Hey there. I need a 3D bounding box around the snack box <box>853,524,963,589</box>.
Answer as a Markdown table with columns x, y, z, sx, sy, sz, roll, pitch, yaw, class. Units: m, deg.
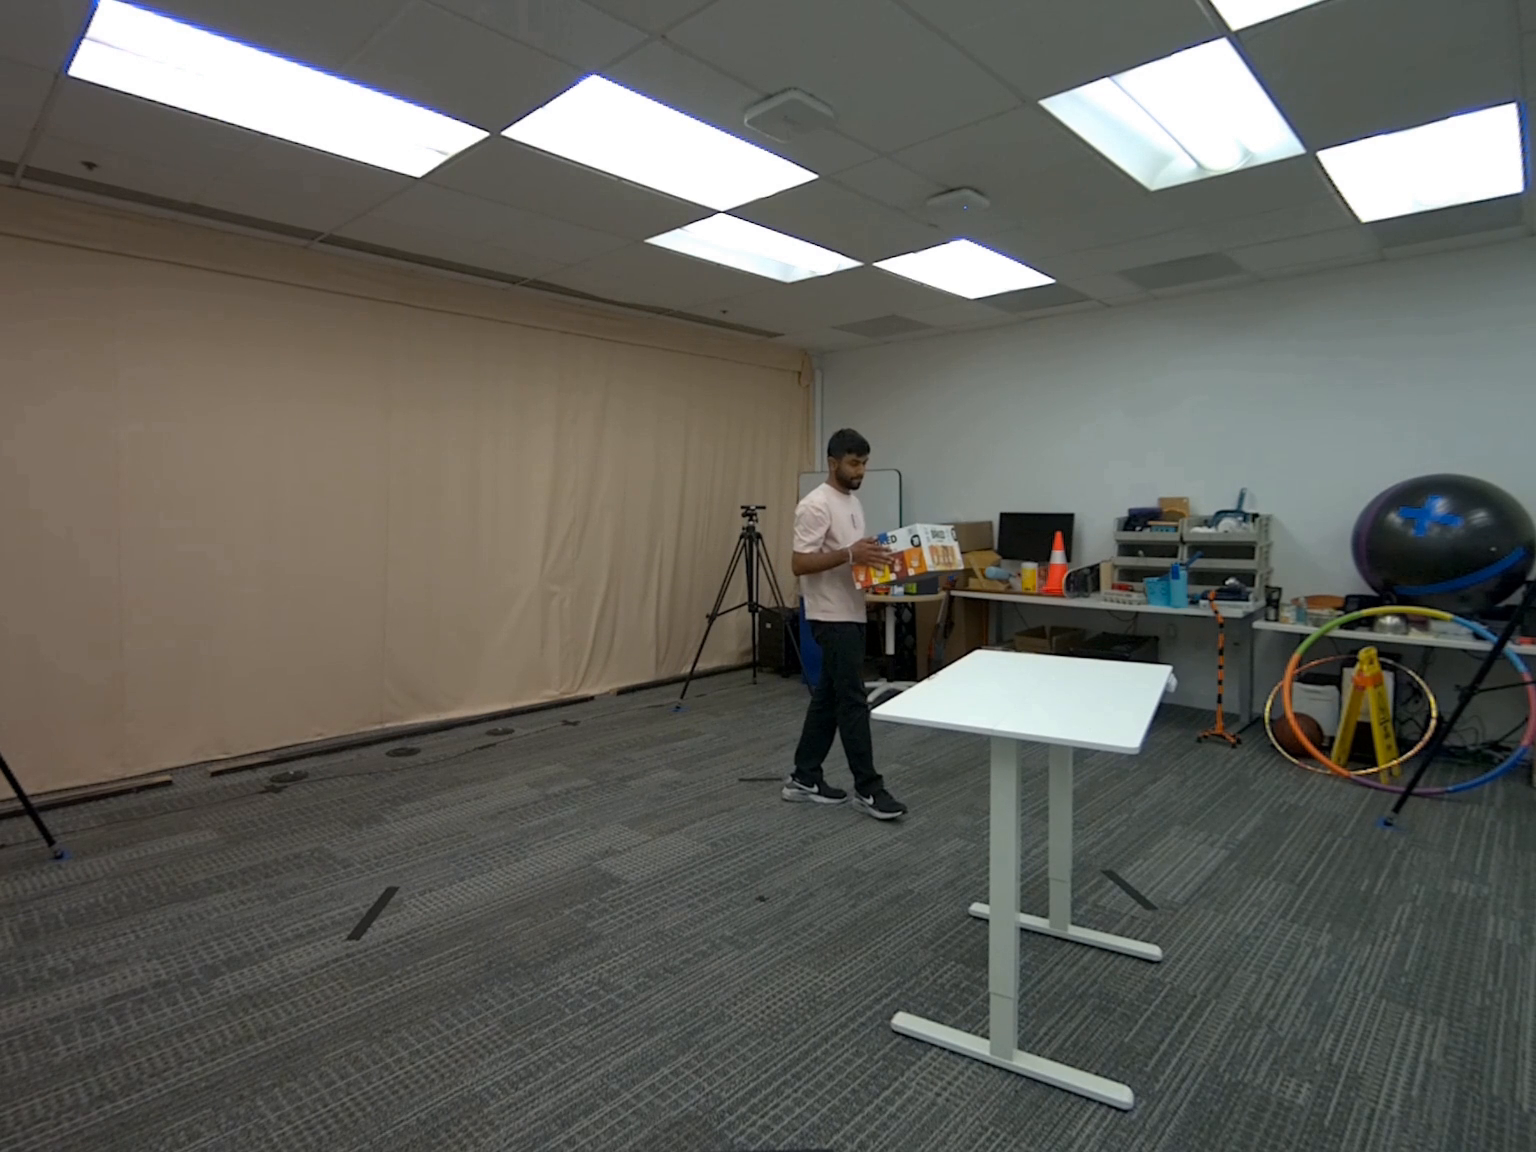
| x | y | z | sx | sy | sz | roll | pitch | yaw | class |
| --- | --- | --- | --- | --- | --- | --- | --- | --- | --- |
| 0.607 | -0.084 | 3.695 | 0.348 | 0.207 | 0.393 | -16 | -8 | 34 | snack box |
